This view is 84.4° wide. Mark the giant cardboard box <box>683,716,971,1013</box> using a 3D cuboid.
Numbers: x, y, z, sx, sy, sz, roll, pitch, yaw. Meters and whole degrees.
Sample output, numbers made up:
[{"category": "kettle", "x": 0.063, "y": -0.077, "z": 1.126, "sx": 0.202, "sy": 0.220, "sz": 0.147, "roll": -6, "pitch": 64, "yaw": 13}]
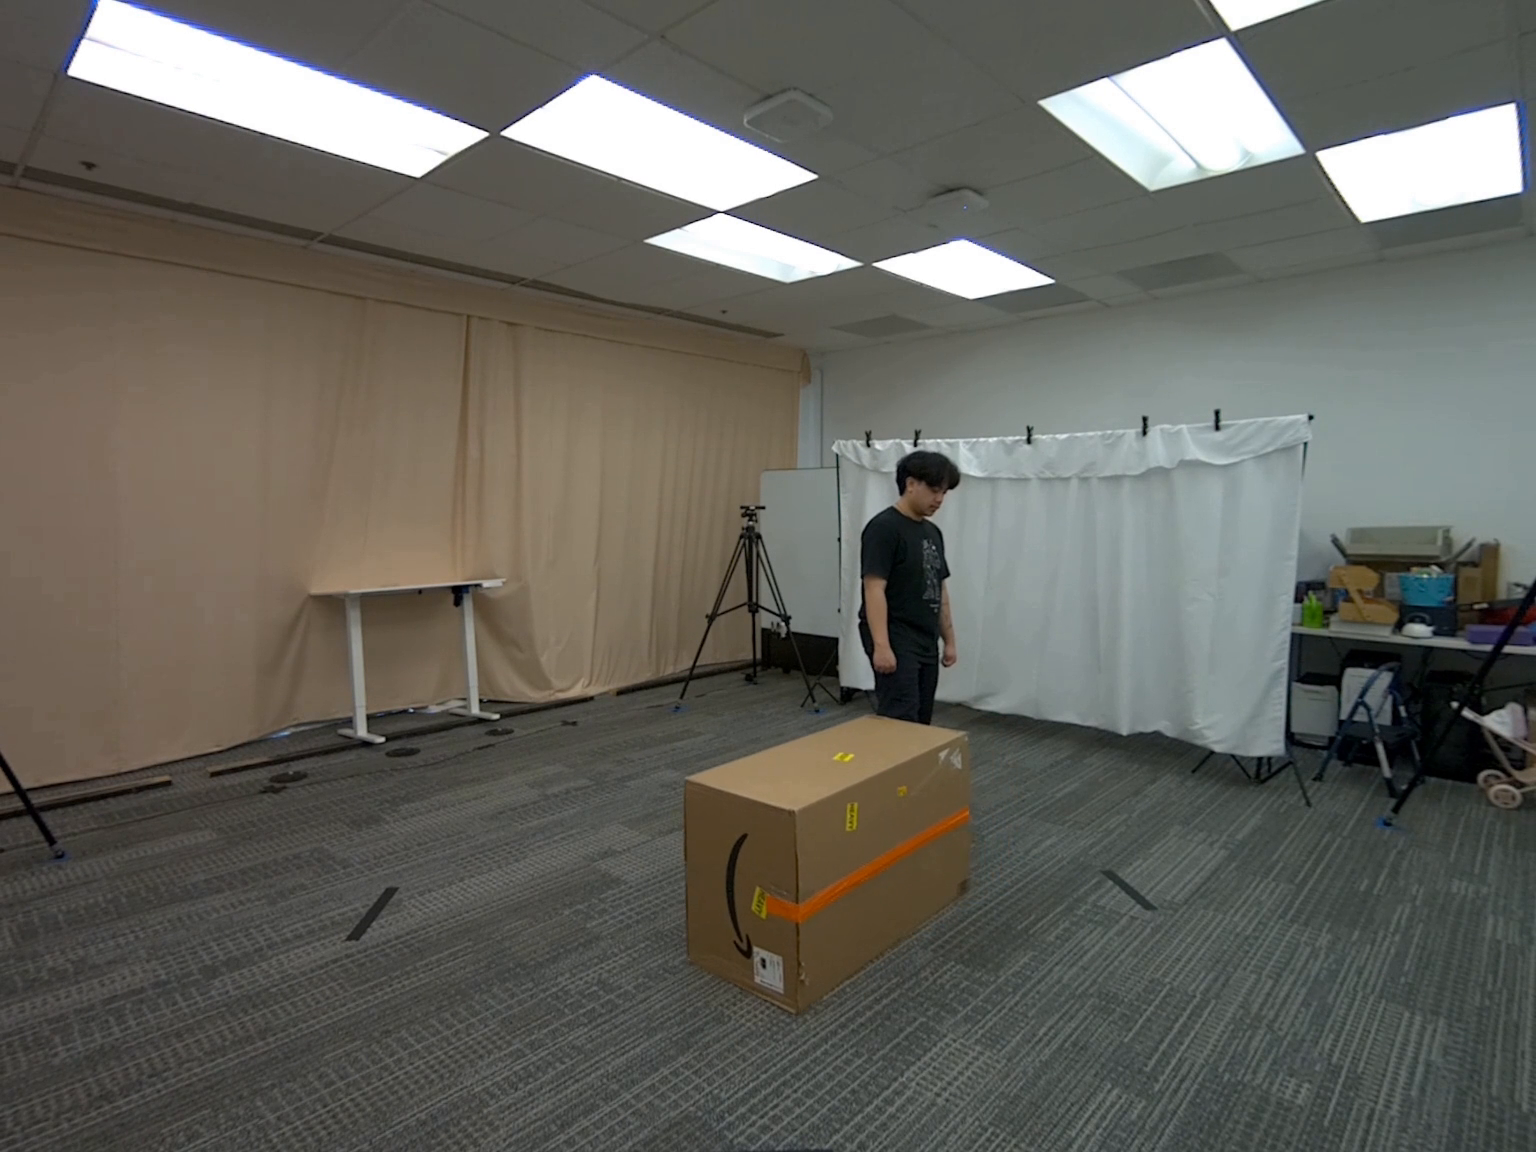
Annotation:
[{"category": "giant cardboard box", "x": 0.235, "y": 0.875, "z": 2.786, "sx": 0.462, "sy": 0.582, "sz": 0.996, "roll": 4, "pitch": 6, "yaw": 40}]
